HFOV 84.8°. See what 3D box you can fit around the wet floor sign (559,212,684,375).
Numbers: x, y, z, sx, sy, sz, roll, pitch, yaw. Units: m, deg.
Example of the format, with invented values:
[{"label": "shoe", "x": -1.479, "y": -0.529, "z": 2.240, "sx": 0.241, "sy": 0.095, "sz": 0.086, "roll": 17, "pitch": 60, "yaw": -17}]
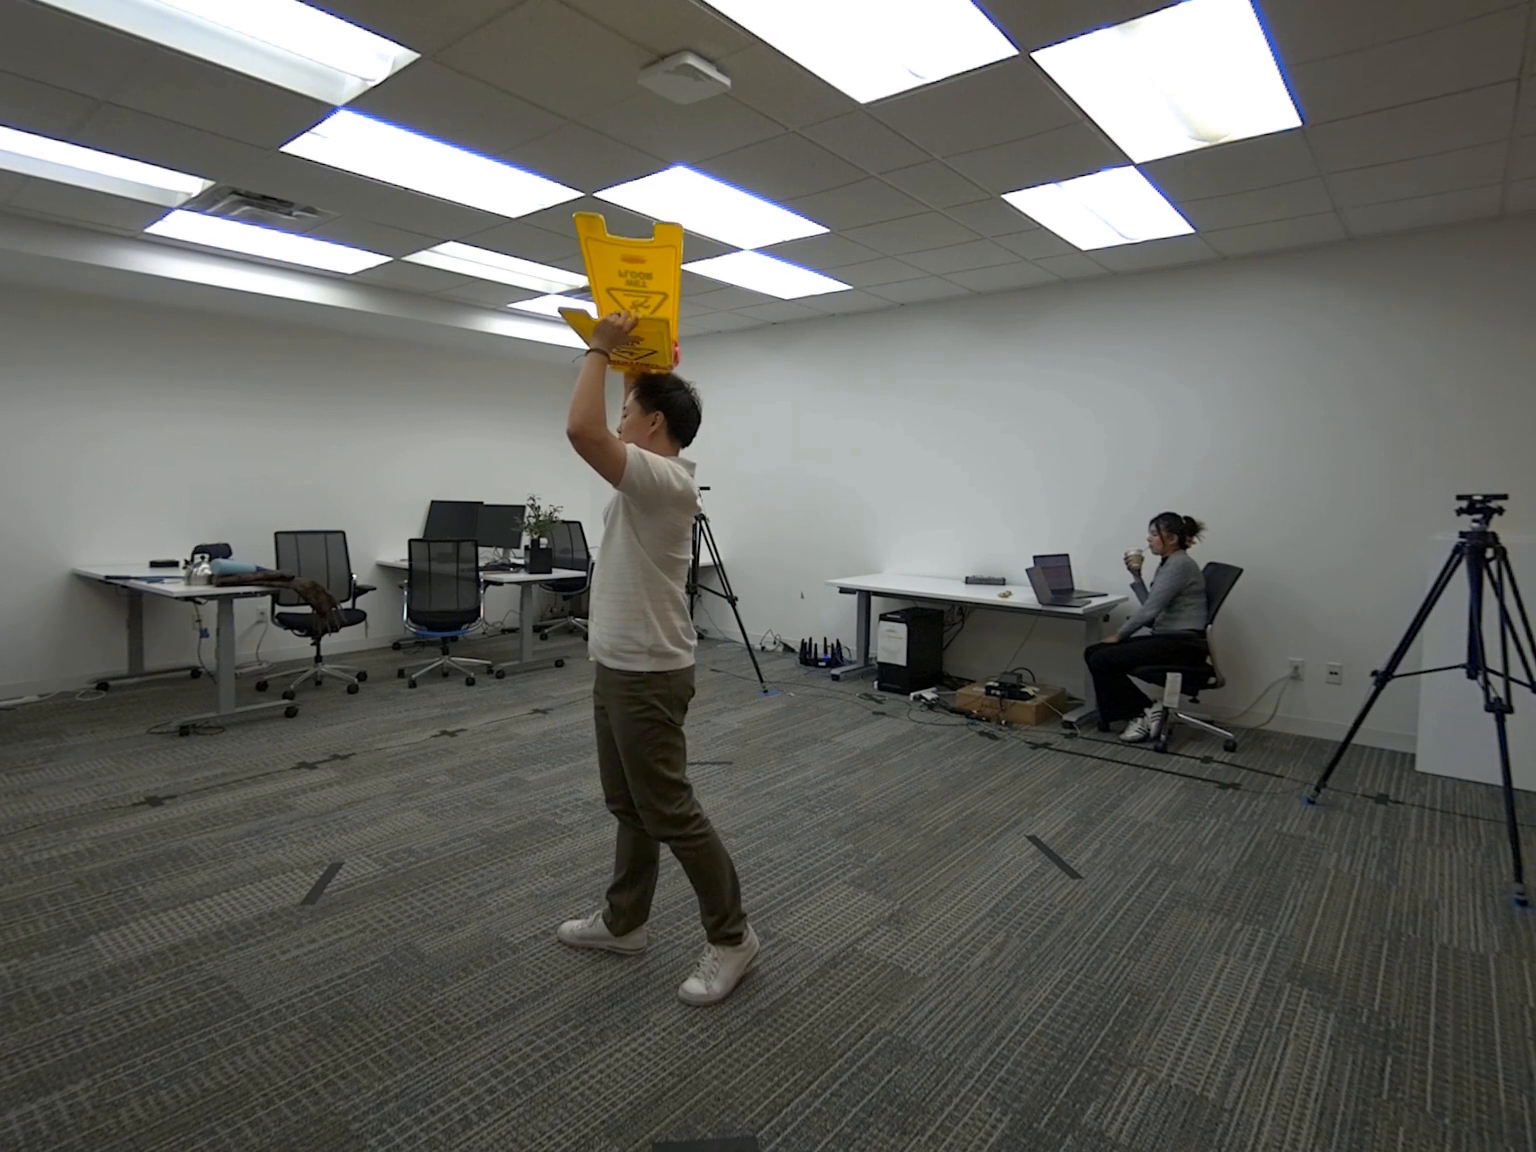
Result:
[{"label": "wet floor sign", "x": -0.395, "y": -0.713, "z": 2.409, "sx": 0.282, "sy": 0.293, "sz": 0.639, "roll": 6, "pitch": -11, "yaw": -1}]
